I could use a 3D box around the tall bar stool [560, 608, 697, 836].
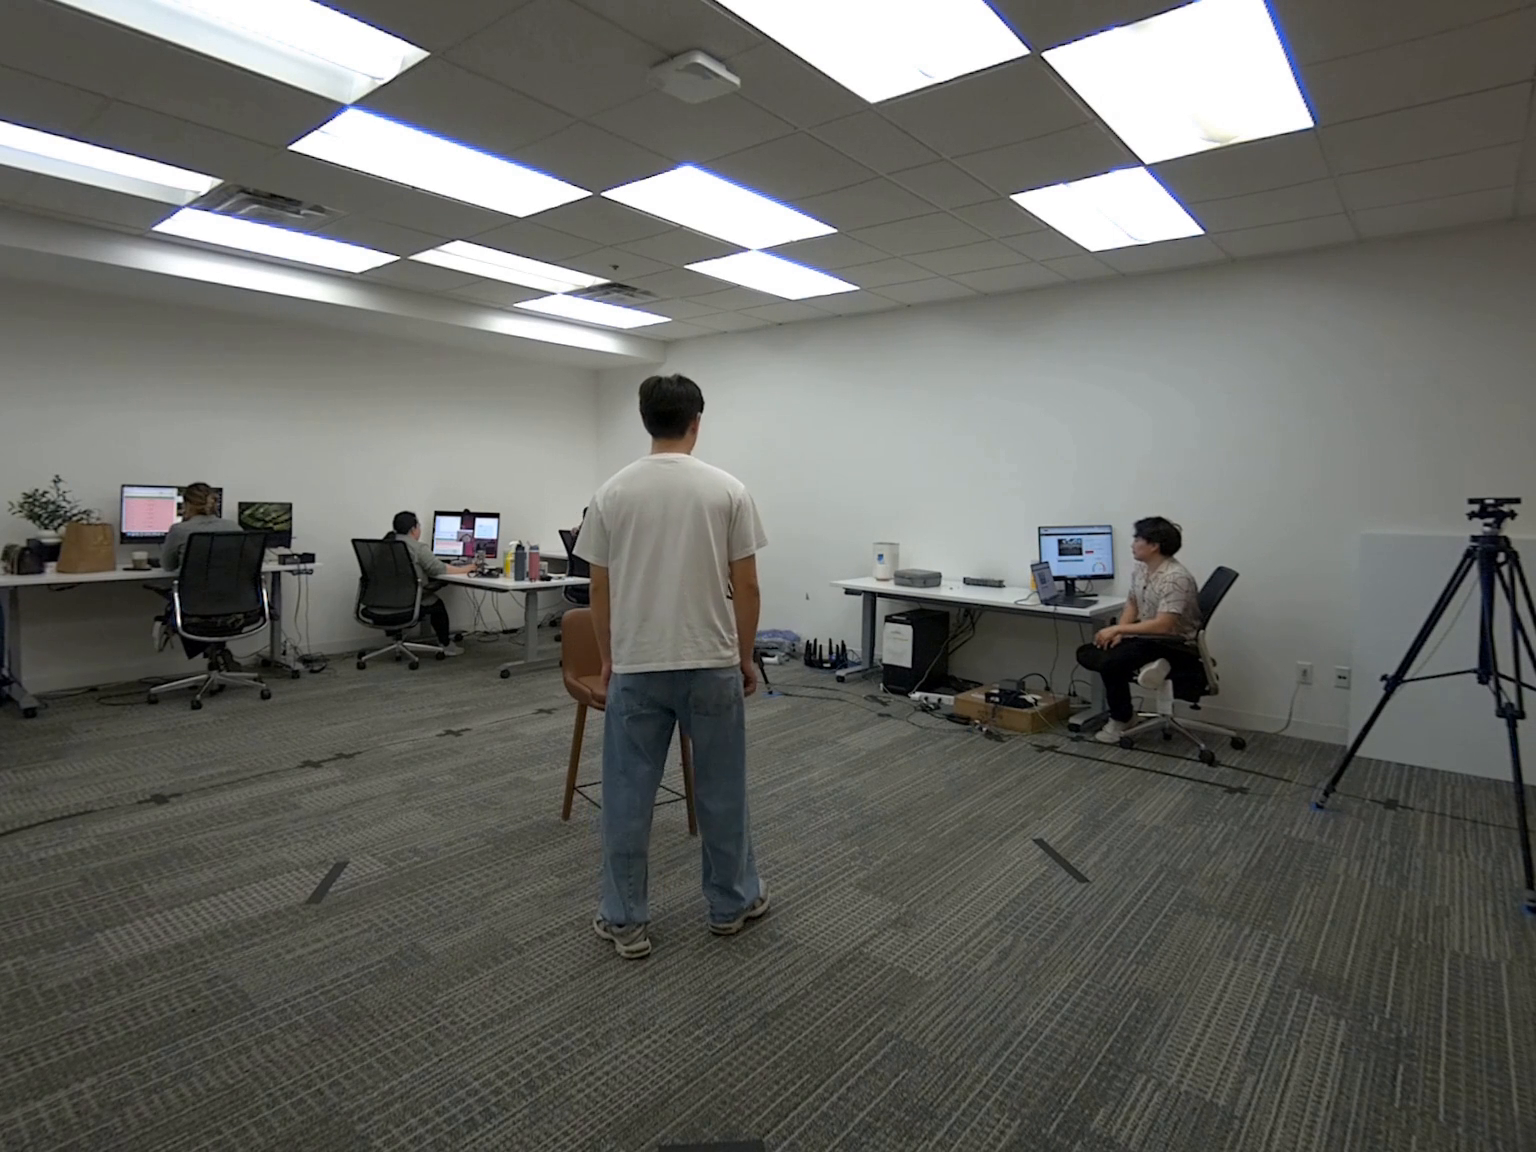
[{"bbox_3d":[-0.586,0.586,3.460,0.443,0.889,0.482,-1,2,-38],"label":"tall bar stool"}]
